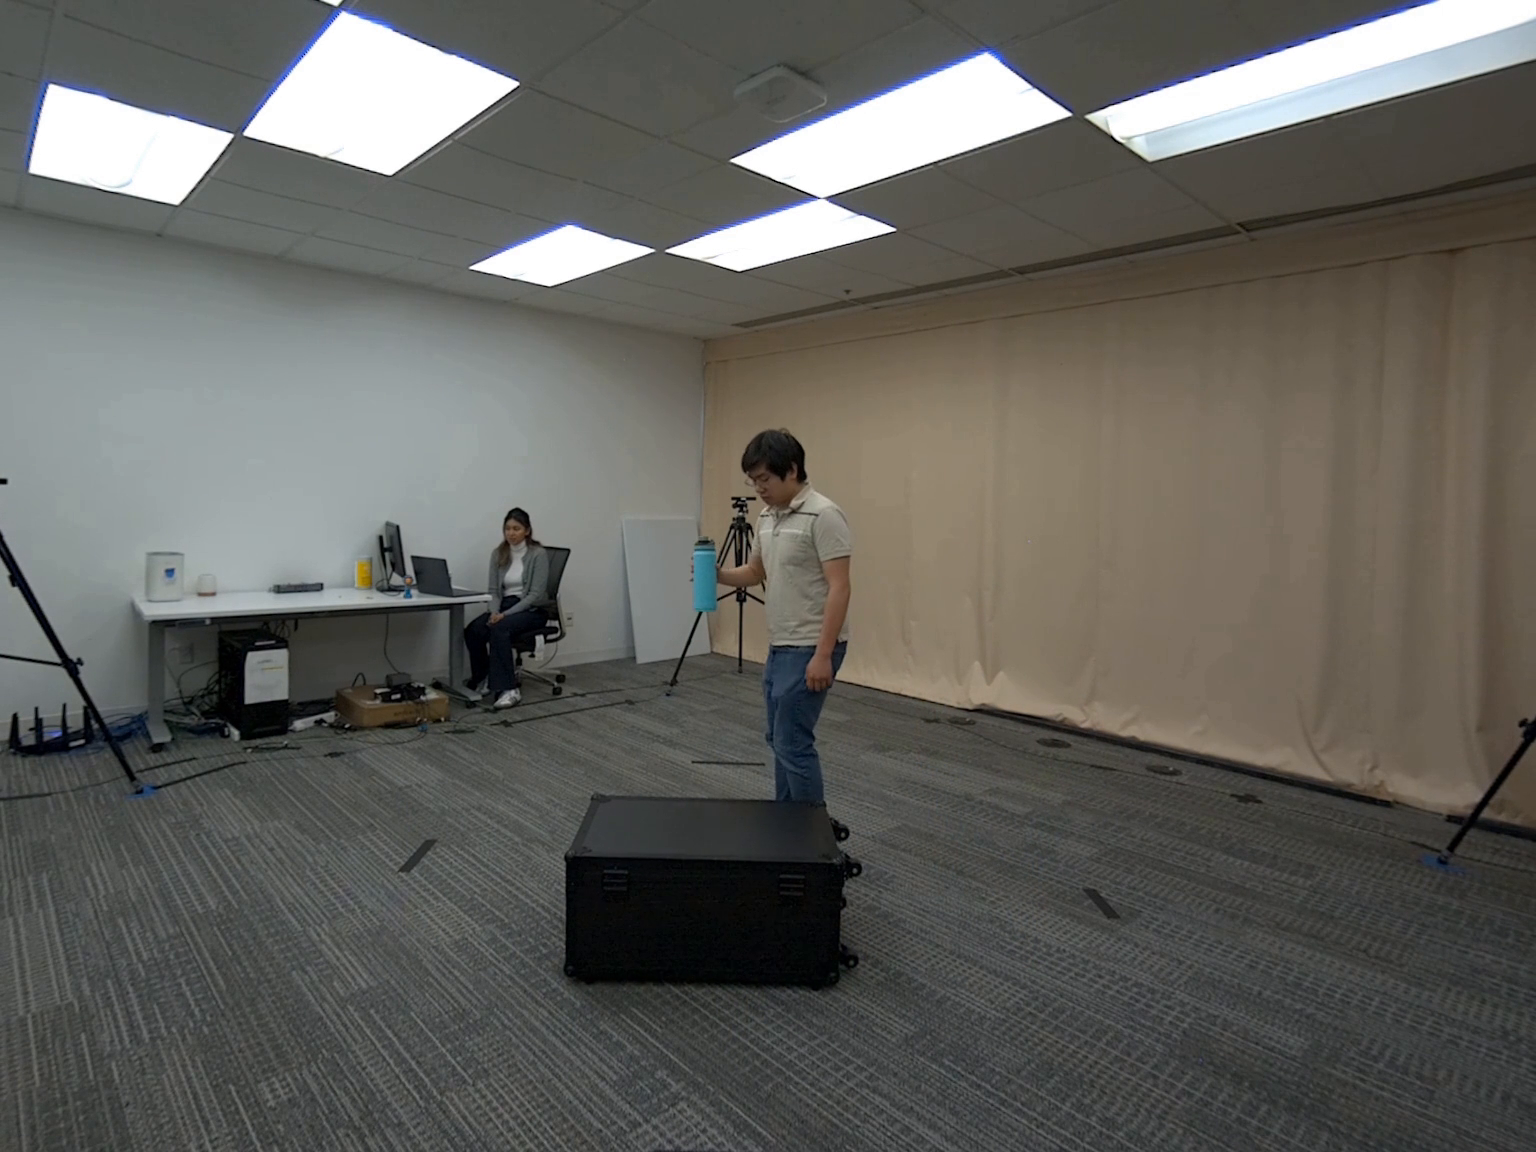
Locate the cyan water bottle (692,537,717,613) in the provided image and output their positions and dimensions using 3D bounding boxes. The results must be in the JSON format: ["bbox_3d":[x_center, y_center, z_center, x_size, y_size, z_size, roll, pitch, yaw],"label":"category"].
[{"bbox_3d":[-0.242,-0.004,3.185,0.092,0.285,0.092,0,-8,-1],"label":"cyan water bottle"}]
